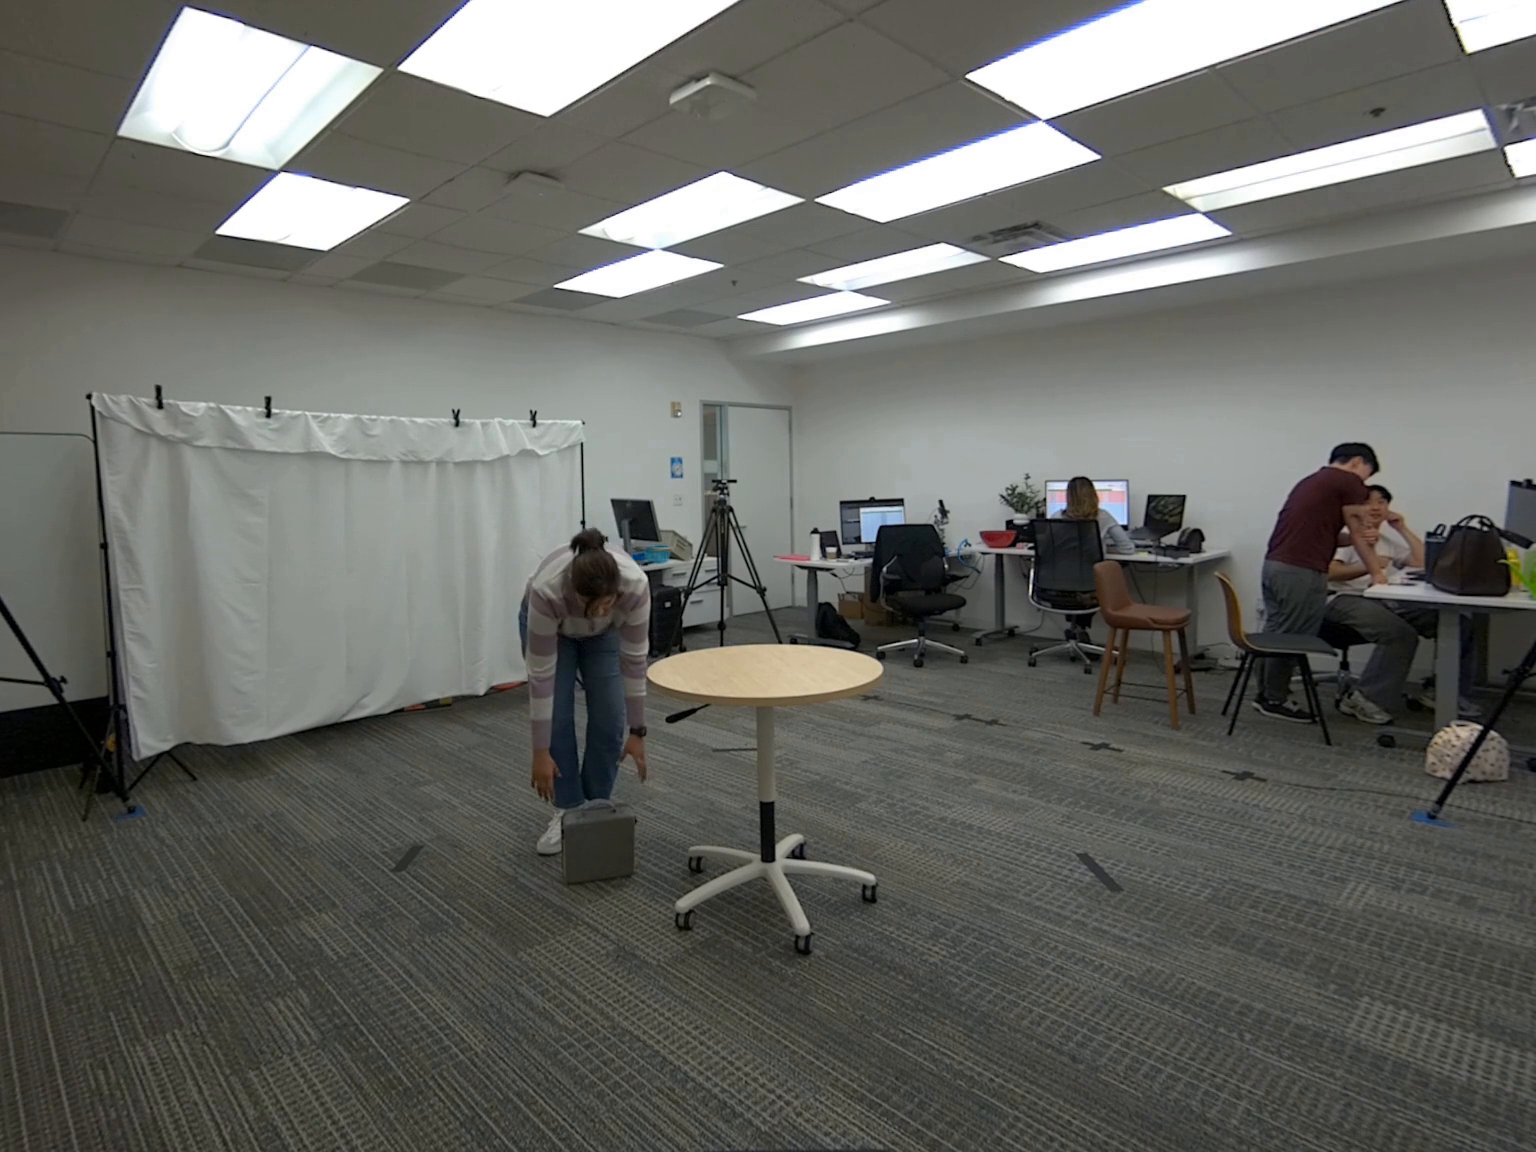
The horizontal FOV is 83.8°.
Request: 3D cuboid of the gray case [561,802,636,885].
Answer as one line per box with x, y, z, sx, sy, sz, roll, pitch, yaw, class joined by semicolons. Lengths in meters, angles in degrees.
-0.595;0.934;3.016;0.253;0.258;0.107;-2;12;-14;gray case
